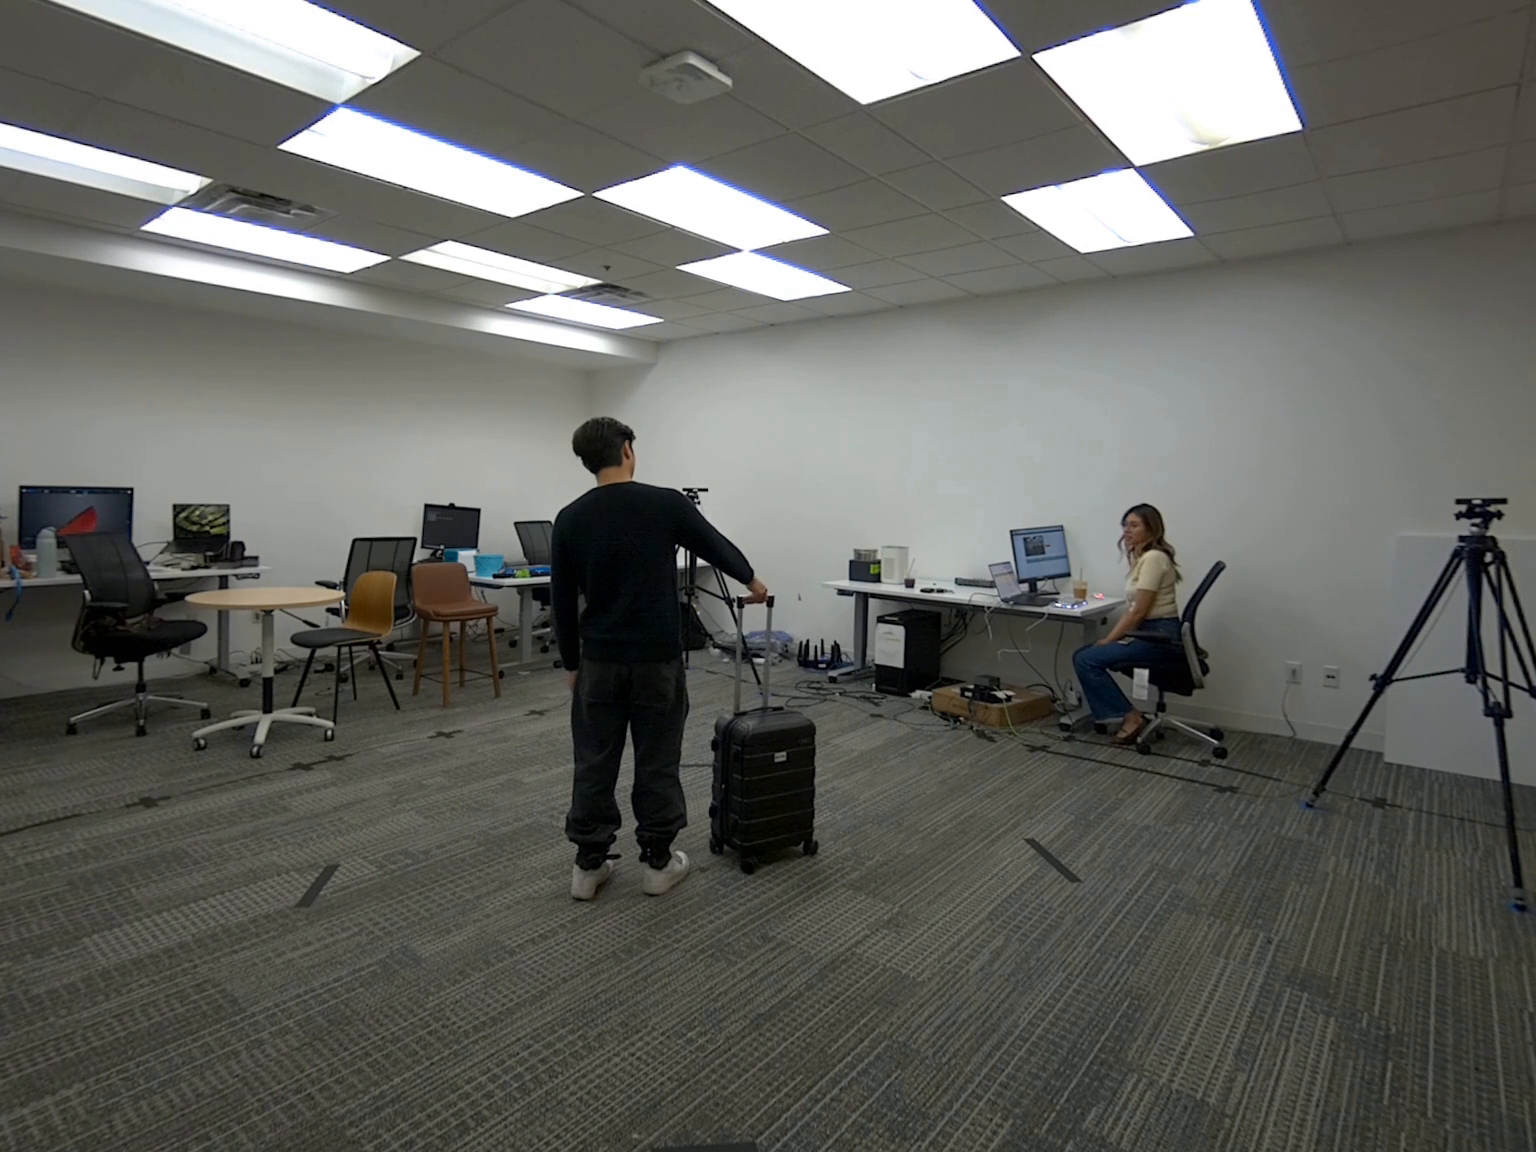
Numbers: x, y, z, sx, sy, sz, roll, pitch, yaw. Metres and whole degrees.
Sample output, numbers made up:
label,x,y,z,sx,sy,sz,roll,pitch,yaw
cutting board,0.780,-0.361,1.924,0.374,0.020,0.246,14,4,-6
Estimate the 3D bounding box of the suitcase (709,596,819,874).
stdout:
label,x,y,z,sx,sy,sz,roll,pitch,yaw
suitcase,-0.013,0.584,3.240,0.374,0.974,0.265,-1,5,-30
